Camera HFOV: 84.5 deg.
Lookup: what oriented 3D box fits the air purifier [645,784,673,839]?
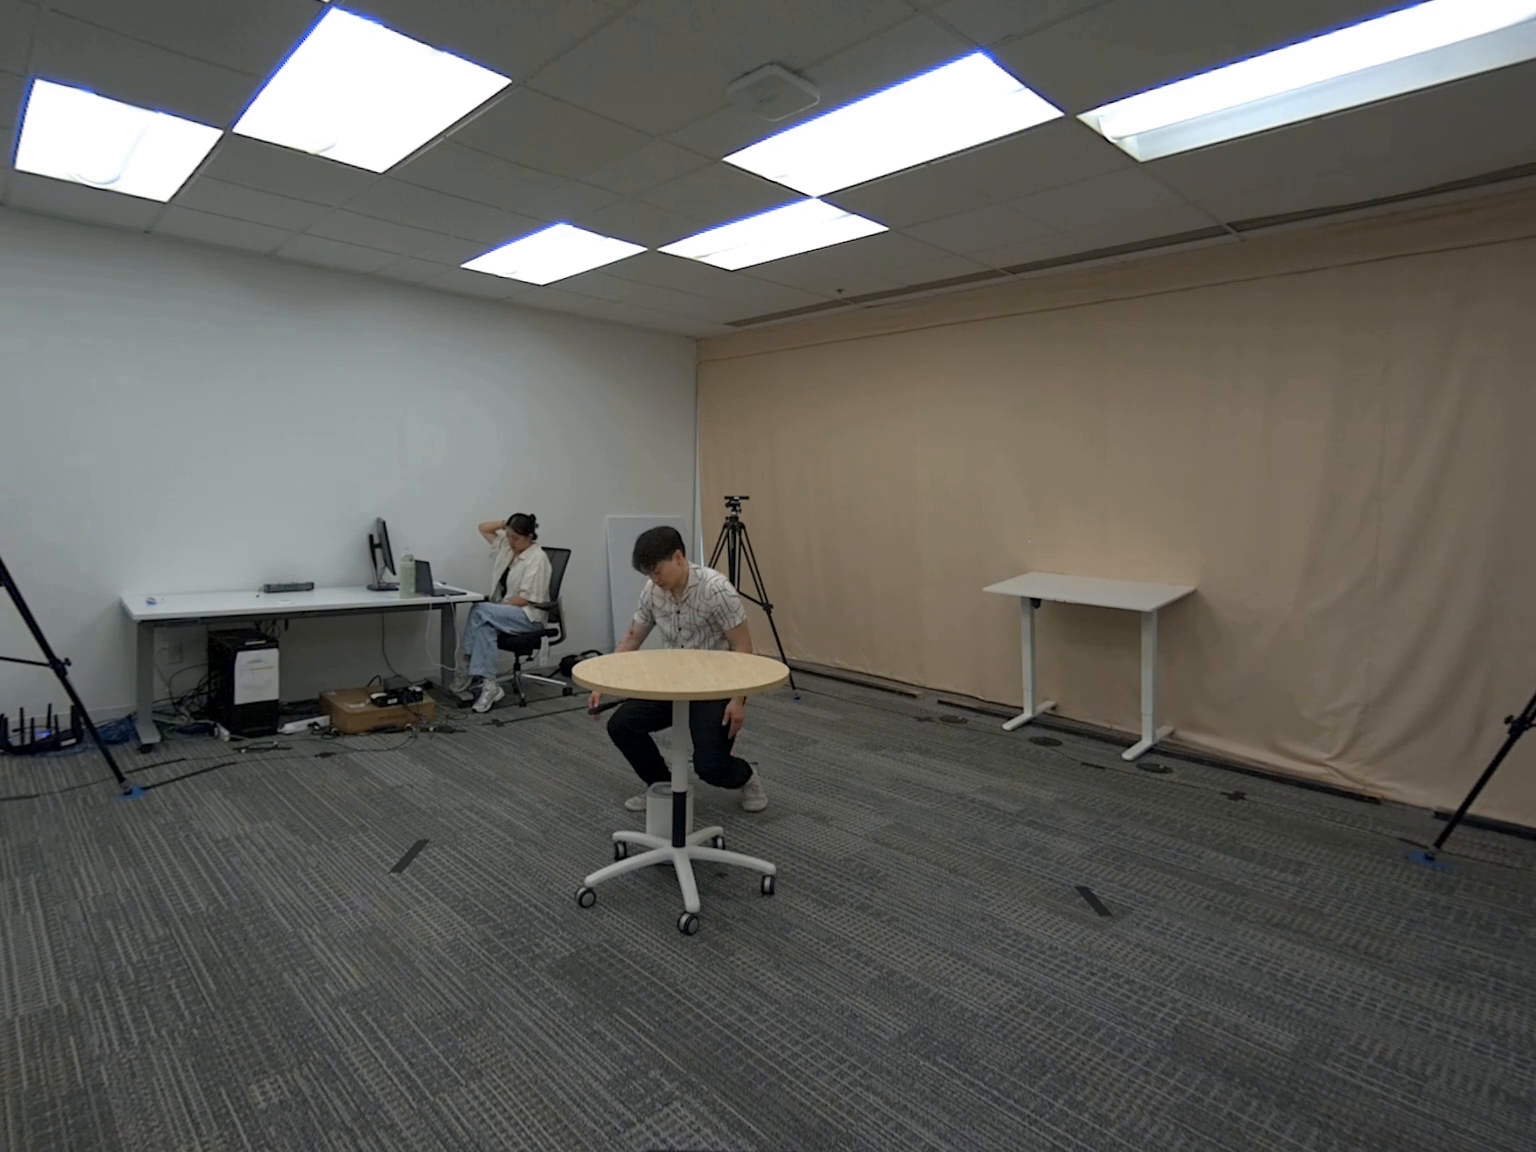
[{"bbox_3d":[-0.392,0.951,3.239,0.171,0.264,0.171,2,4,3],"label":"air purifier"}]
